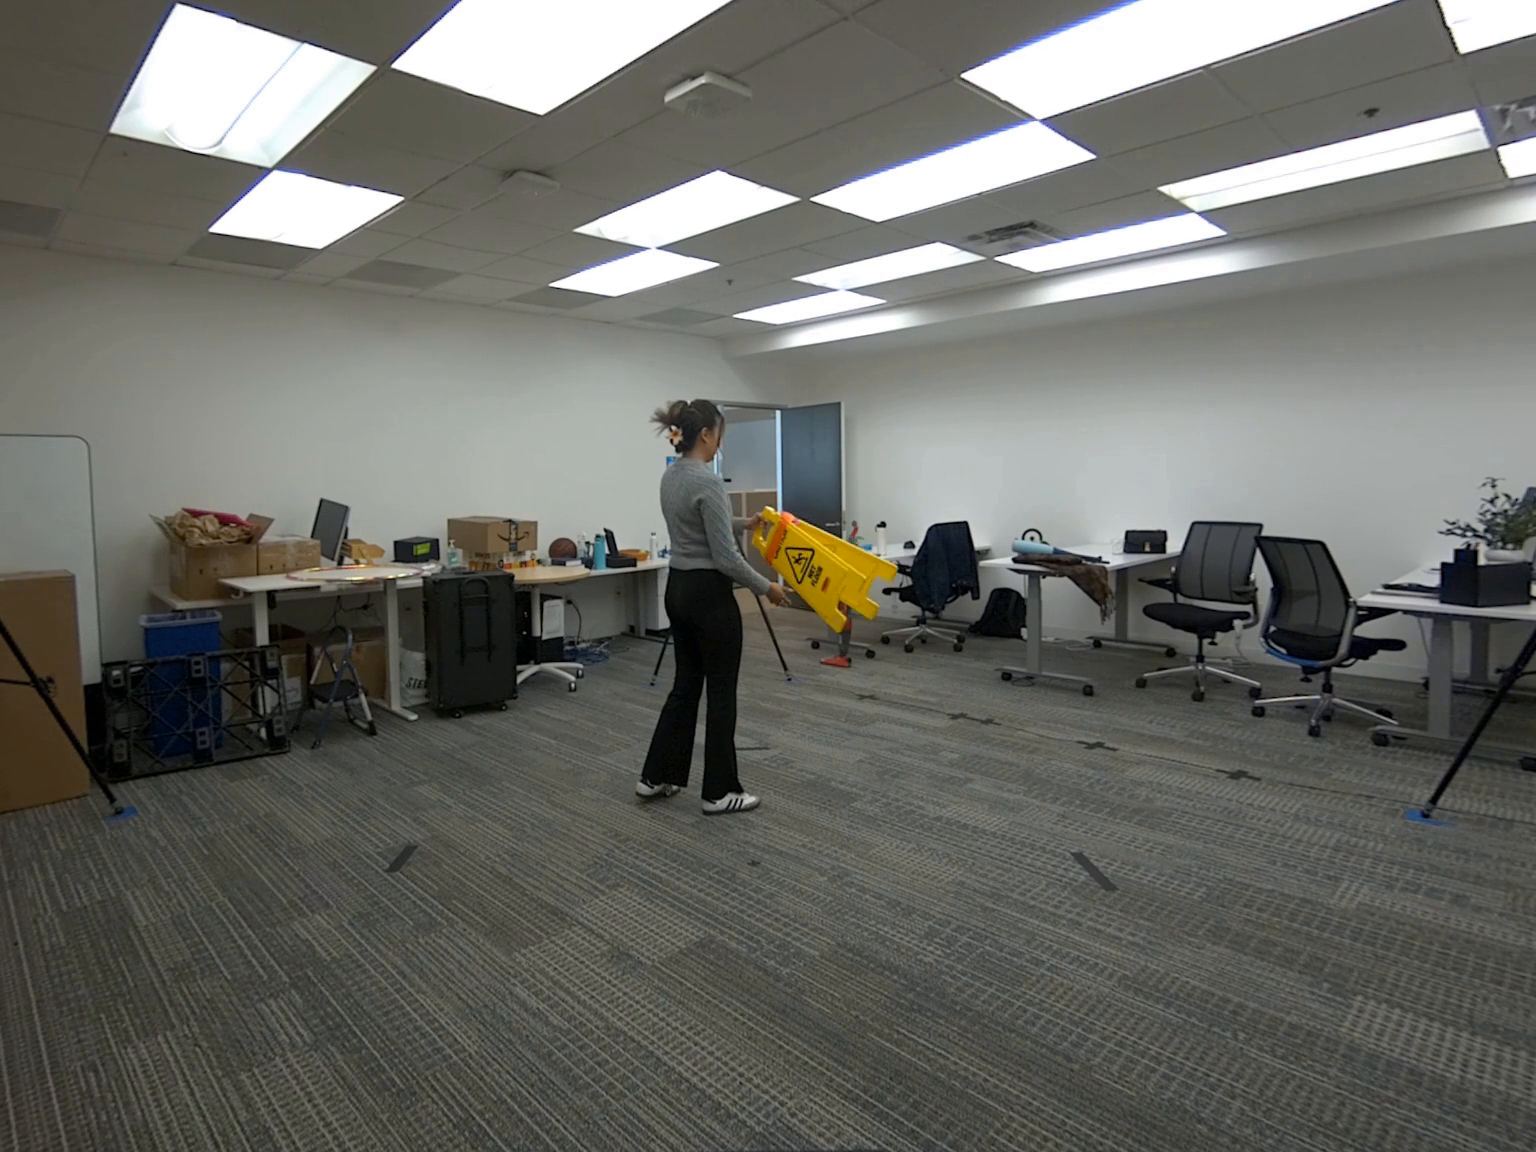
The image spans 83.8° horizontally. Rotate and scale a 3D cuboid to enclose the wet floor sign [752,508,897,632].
[{"bbox_3d":[0.186,-0.070,3.772,0.668,0.279,0.283,35,28,28],"label":"wet floor sign"}]
